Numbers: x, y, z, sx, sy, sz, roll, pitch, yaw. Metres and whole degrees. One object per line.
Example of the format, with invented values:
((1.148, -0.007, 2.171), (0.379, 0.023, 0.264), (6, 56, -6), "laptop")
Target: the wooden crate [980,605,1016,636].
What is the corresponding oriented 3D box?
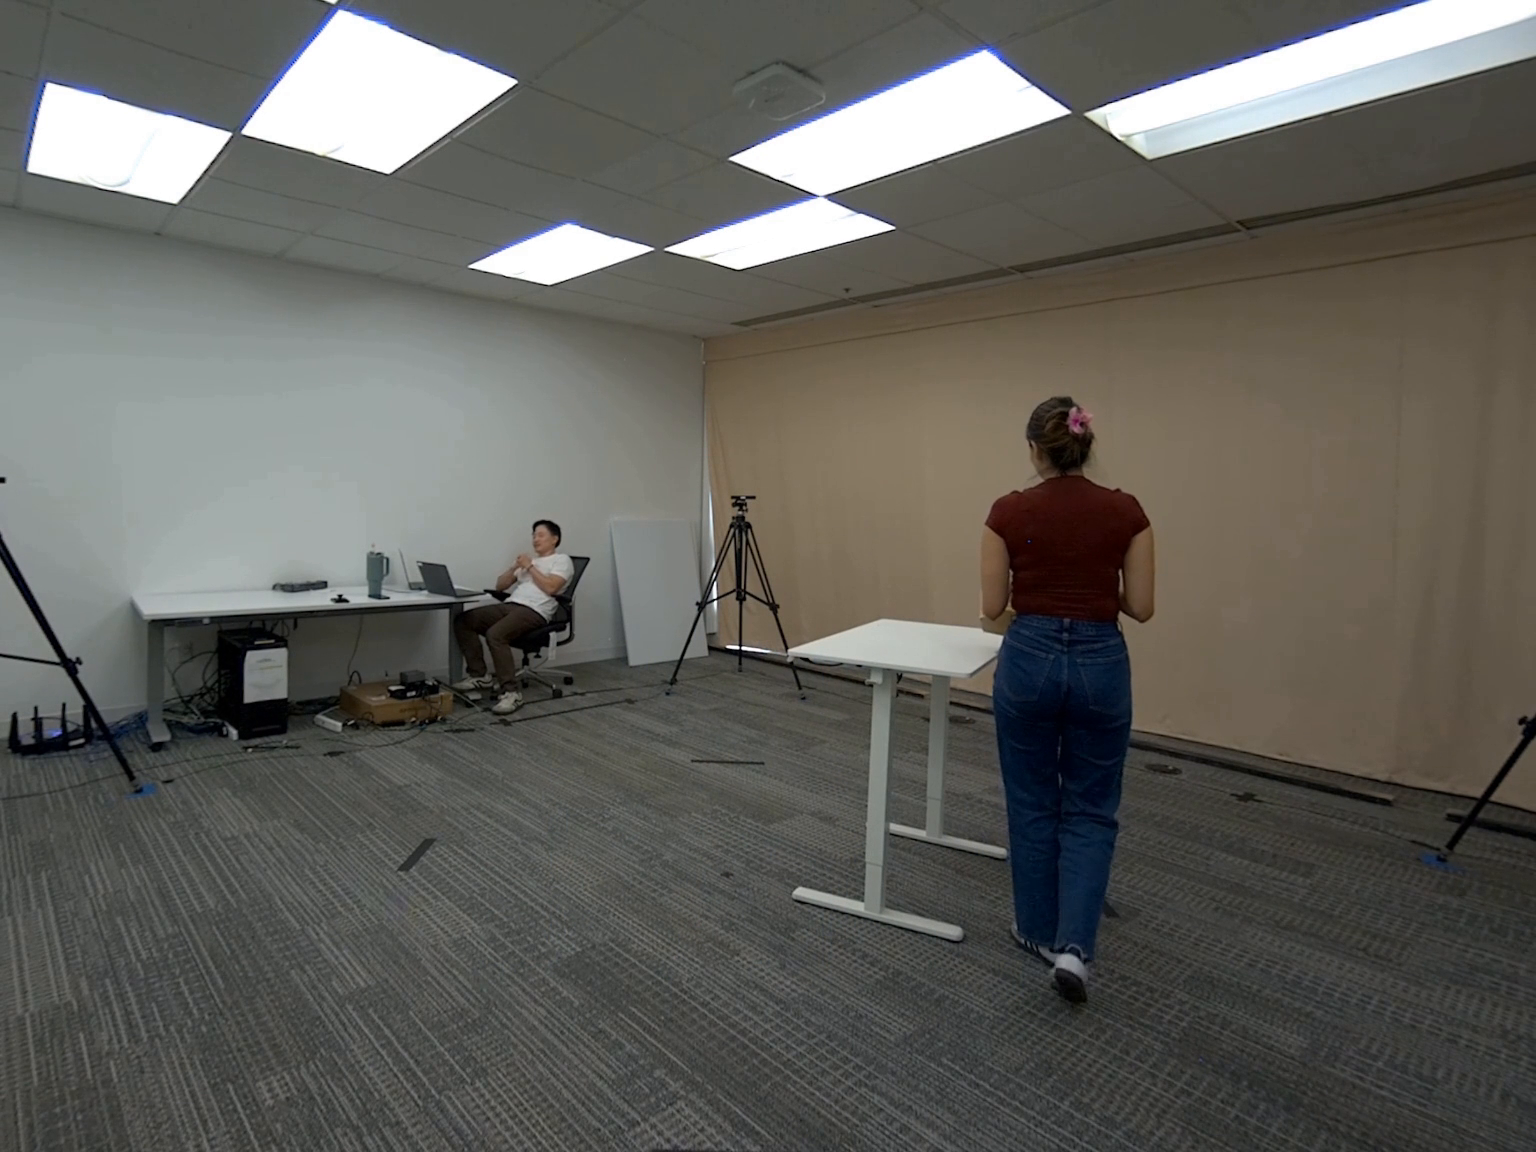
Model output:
((0.893, 0.039, 2.800), (0.305, 0.270, 0.325), (11, 23, 10), "wooden crate")
